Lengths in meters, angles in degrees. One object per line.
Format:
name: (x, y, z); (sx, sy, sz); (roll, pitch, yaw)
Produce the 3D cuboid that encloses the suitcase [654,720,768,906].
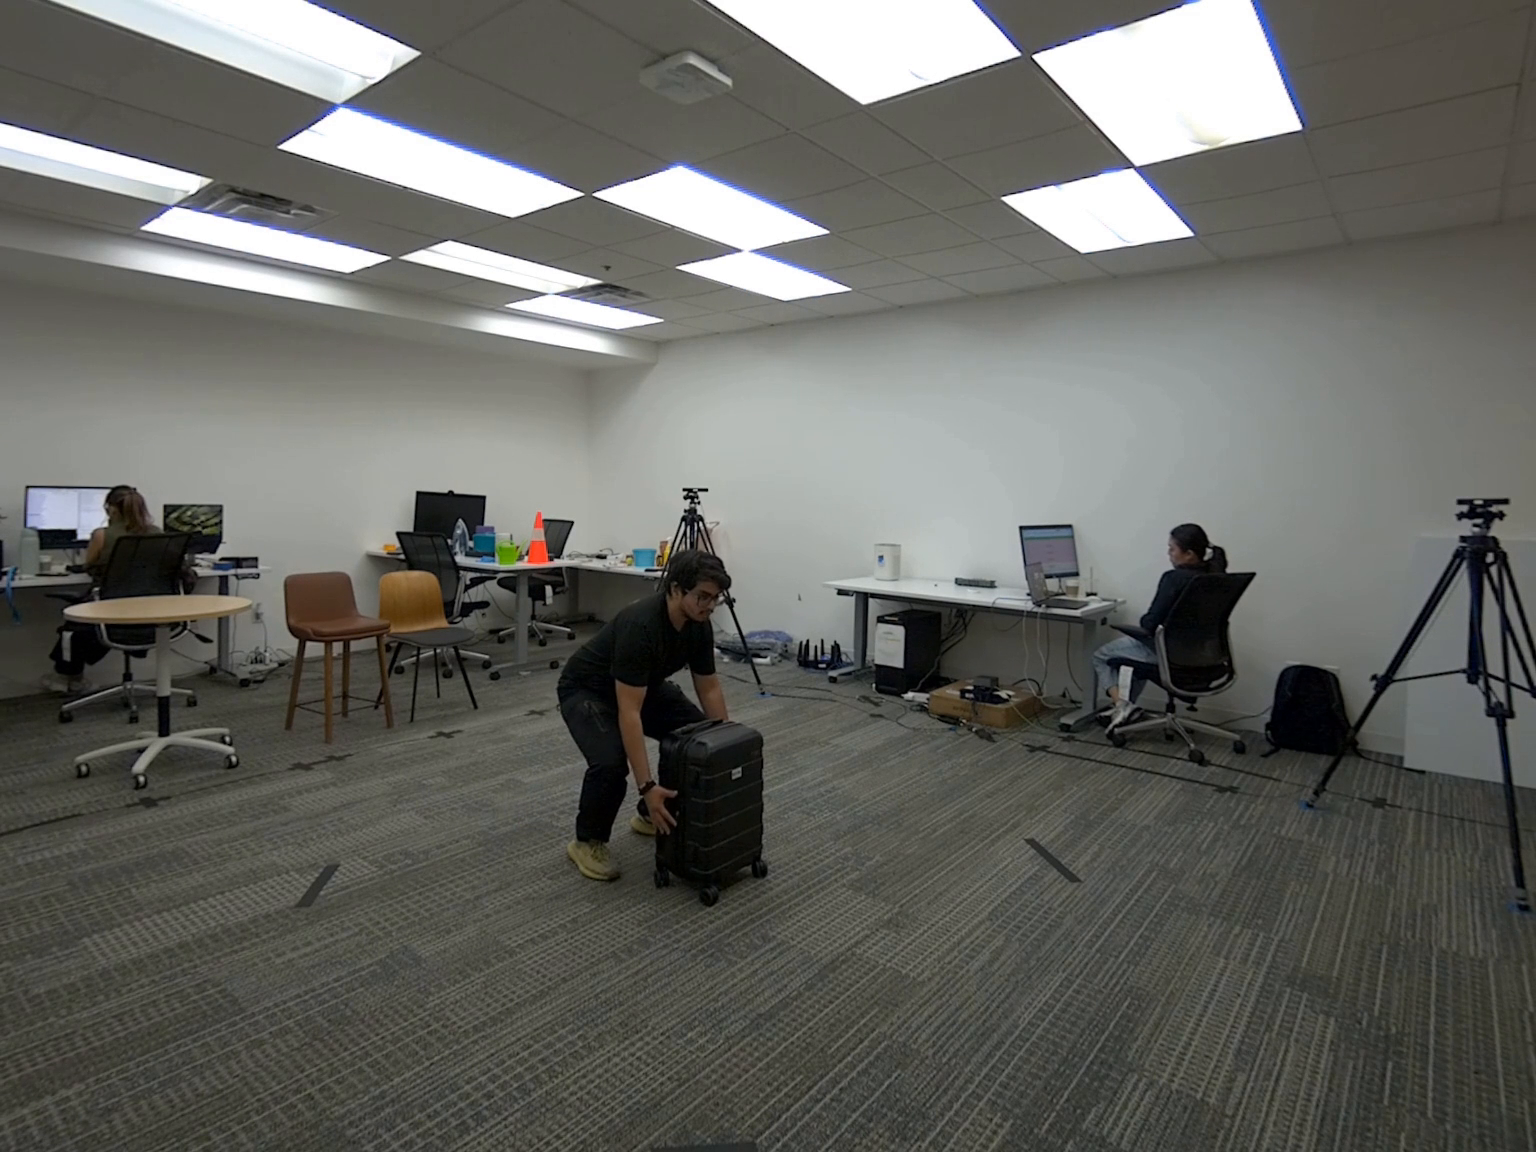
suitcase: (-0.208, 0.806, 3.026); (0.256, 0.548, 0.364); (3, 3, 37)
